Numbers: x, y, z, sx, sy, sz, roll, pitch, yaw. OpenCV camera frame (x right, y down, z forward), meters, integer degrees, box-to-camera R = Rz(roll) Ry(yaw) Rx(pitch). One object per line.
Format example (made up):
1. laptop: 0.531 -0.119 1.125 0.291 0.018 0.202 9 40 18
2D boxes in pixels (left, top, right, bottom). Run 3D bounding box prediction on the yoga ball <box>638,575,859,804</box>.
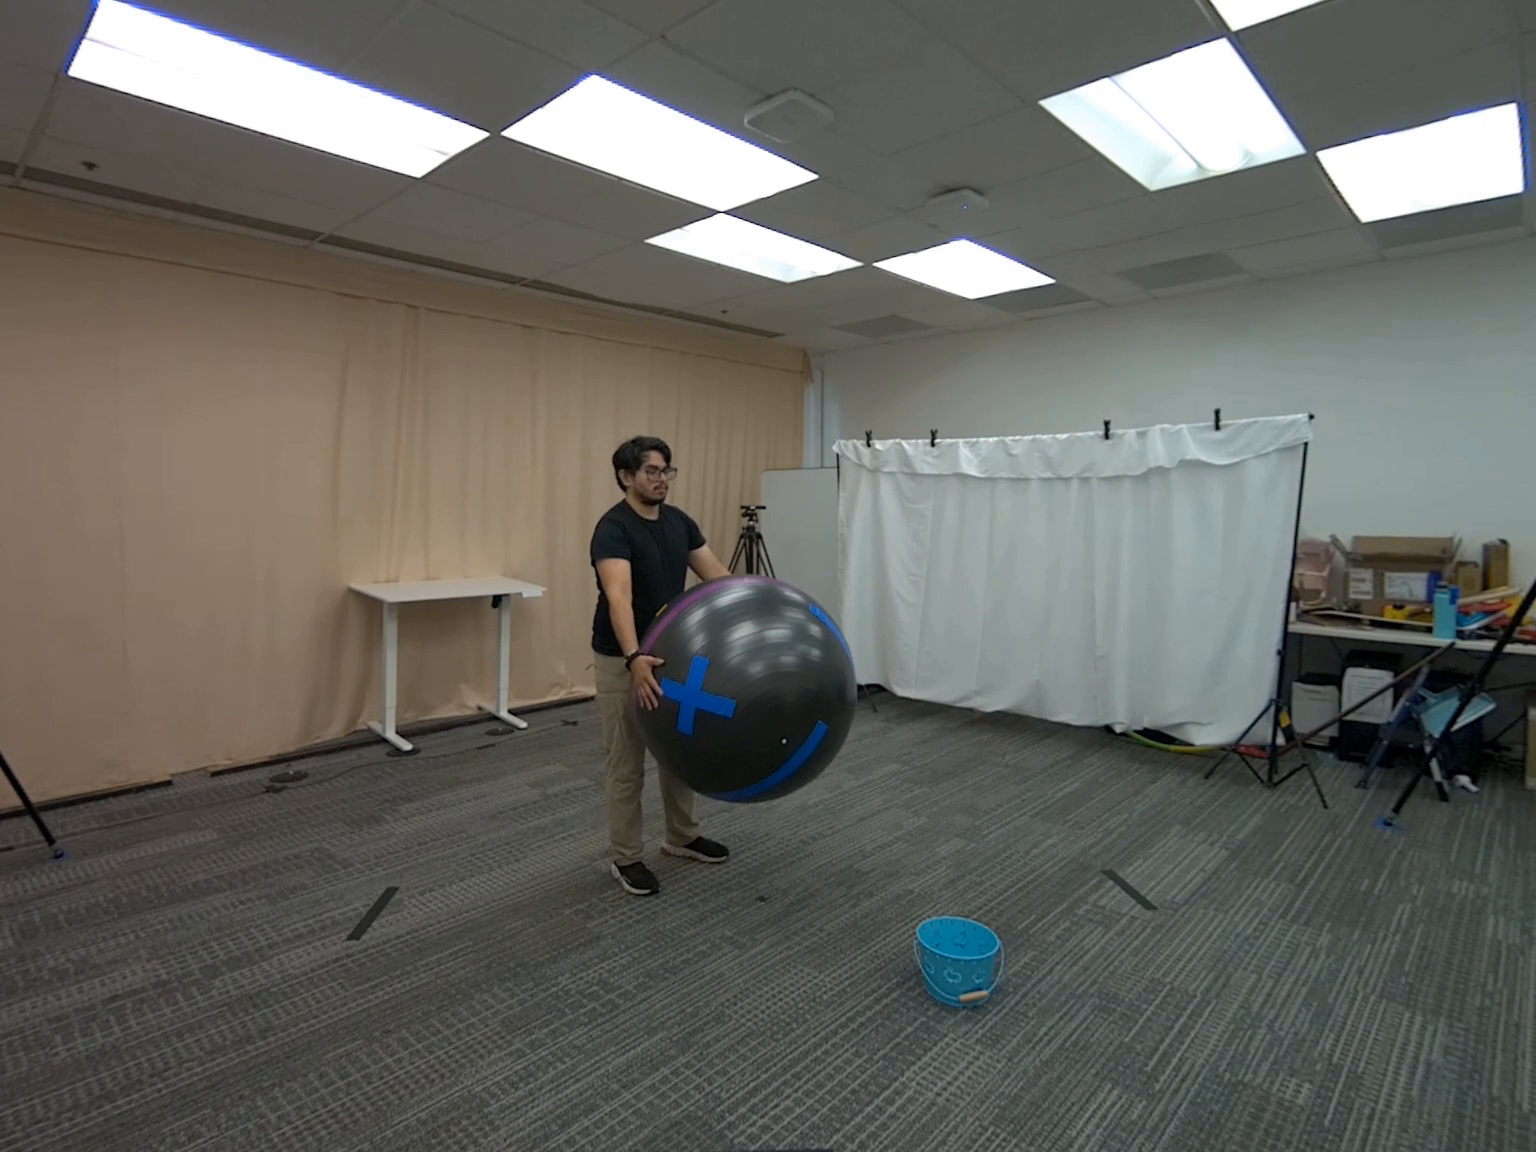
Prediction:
1. yoga ball: -0.078 0.380 2.844 0.757 0.756 0.760 0 4 -2
